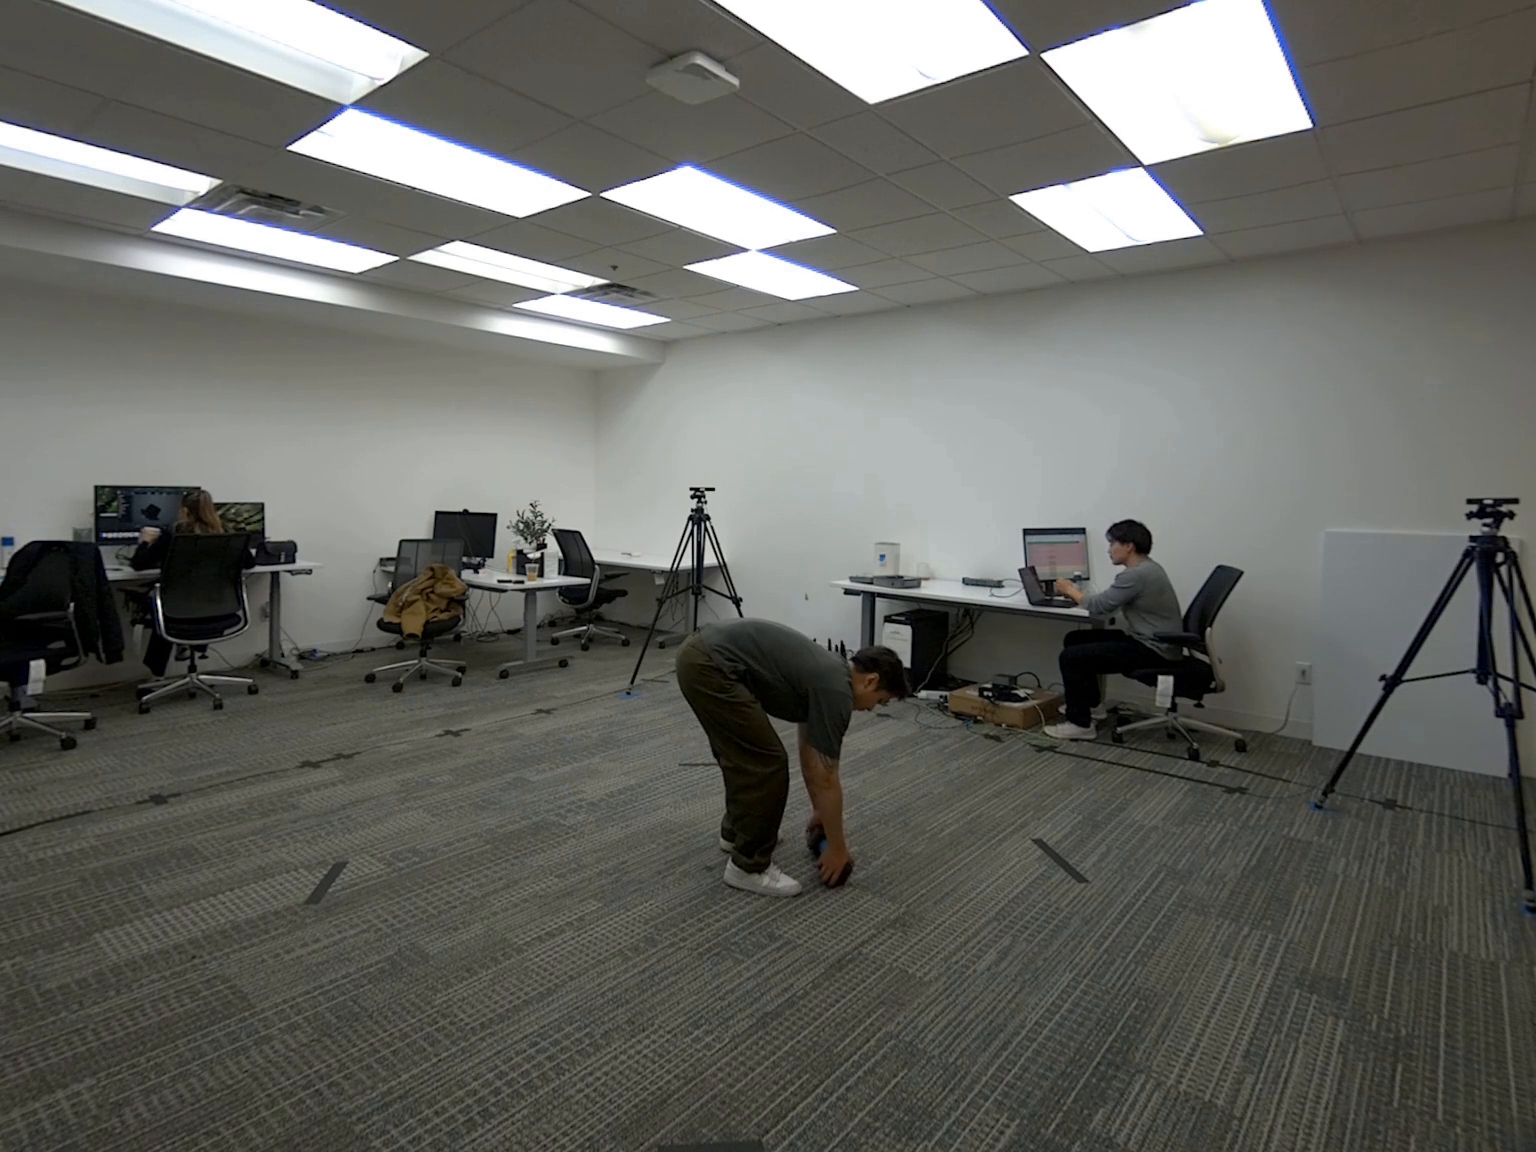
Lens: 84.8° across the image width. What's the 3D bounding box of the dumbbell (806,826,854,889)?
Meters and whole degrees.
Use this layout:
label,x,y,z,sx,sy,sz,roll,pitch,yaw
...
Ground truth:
label,x,y,z,sx,sy,sz,roll,pitch,yaw
dumbbell,0.213,1.025,3.137,0.108,0.122,0.296,-30,8,-3
